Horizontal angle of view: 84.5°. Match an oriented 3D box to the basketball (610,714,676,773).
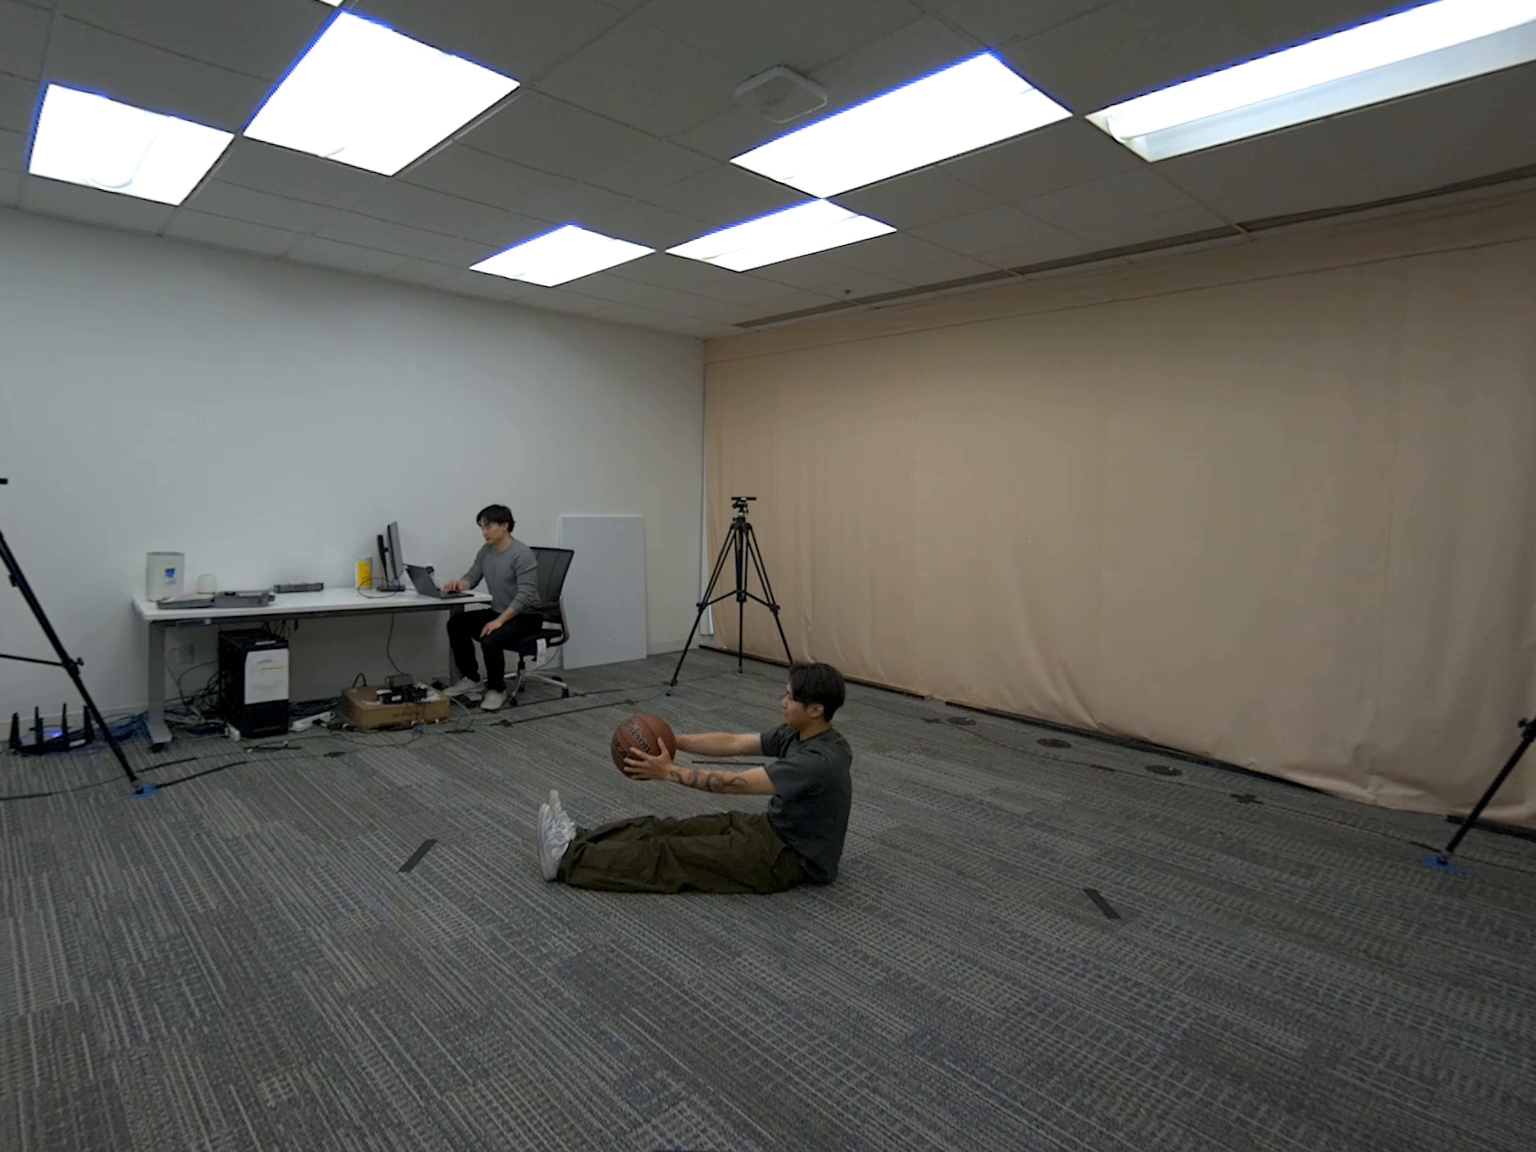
[{"bbox_3d":[-0.458,0.629,3.081,0.236,0.235,0.237,1,4,-1],"label":"basketball"}]
